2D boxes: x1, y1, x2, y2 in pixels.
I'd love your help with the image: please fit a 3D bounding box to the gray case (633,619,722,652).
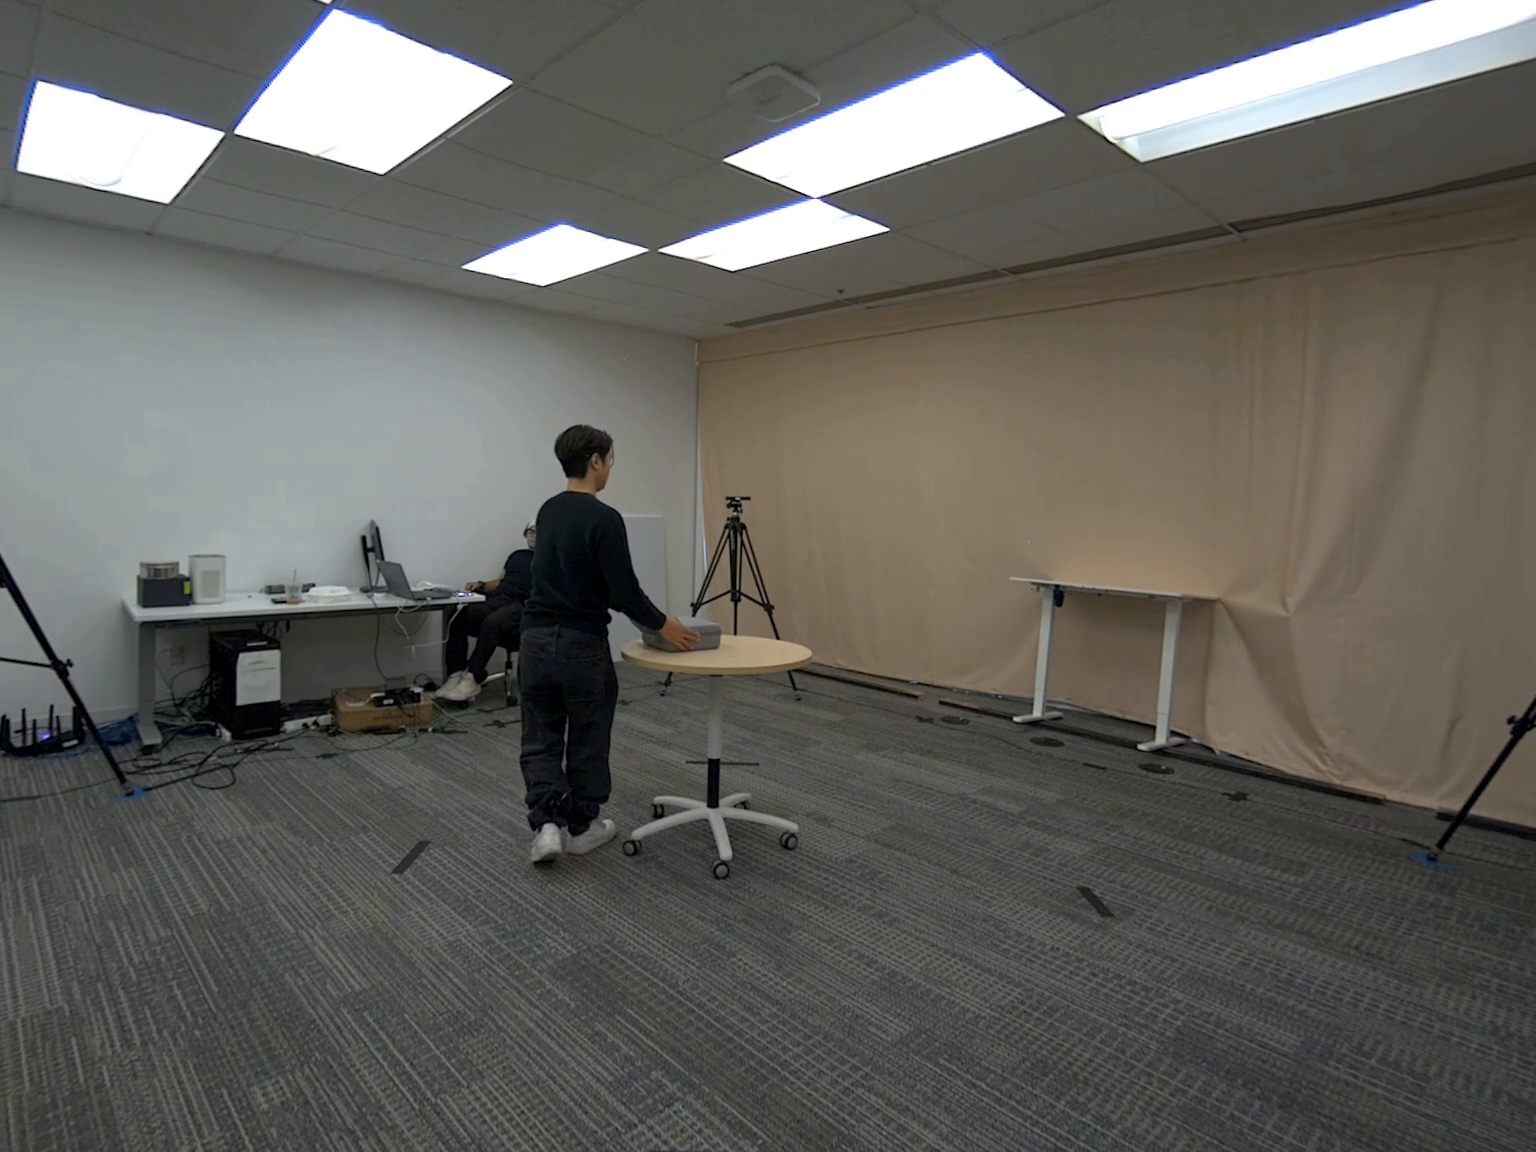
[{"bbox_3d":[-0.359,0.235,3.444,0.255,0.104,0.263,0,6,-31],"label":"gray case"}]
